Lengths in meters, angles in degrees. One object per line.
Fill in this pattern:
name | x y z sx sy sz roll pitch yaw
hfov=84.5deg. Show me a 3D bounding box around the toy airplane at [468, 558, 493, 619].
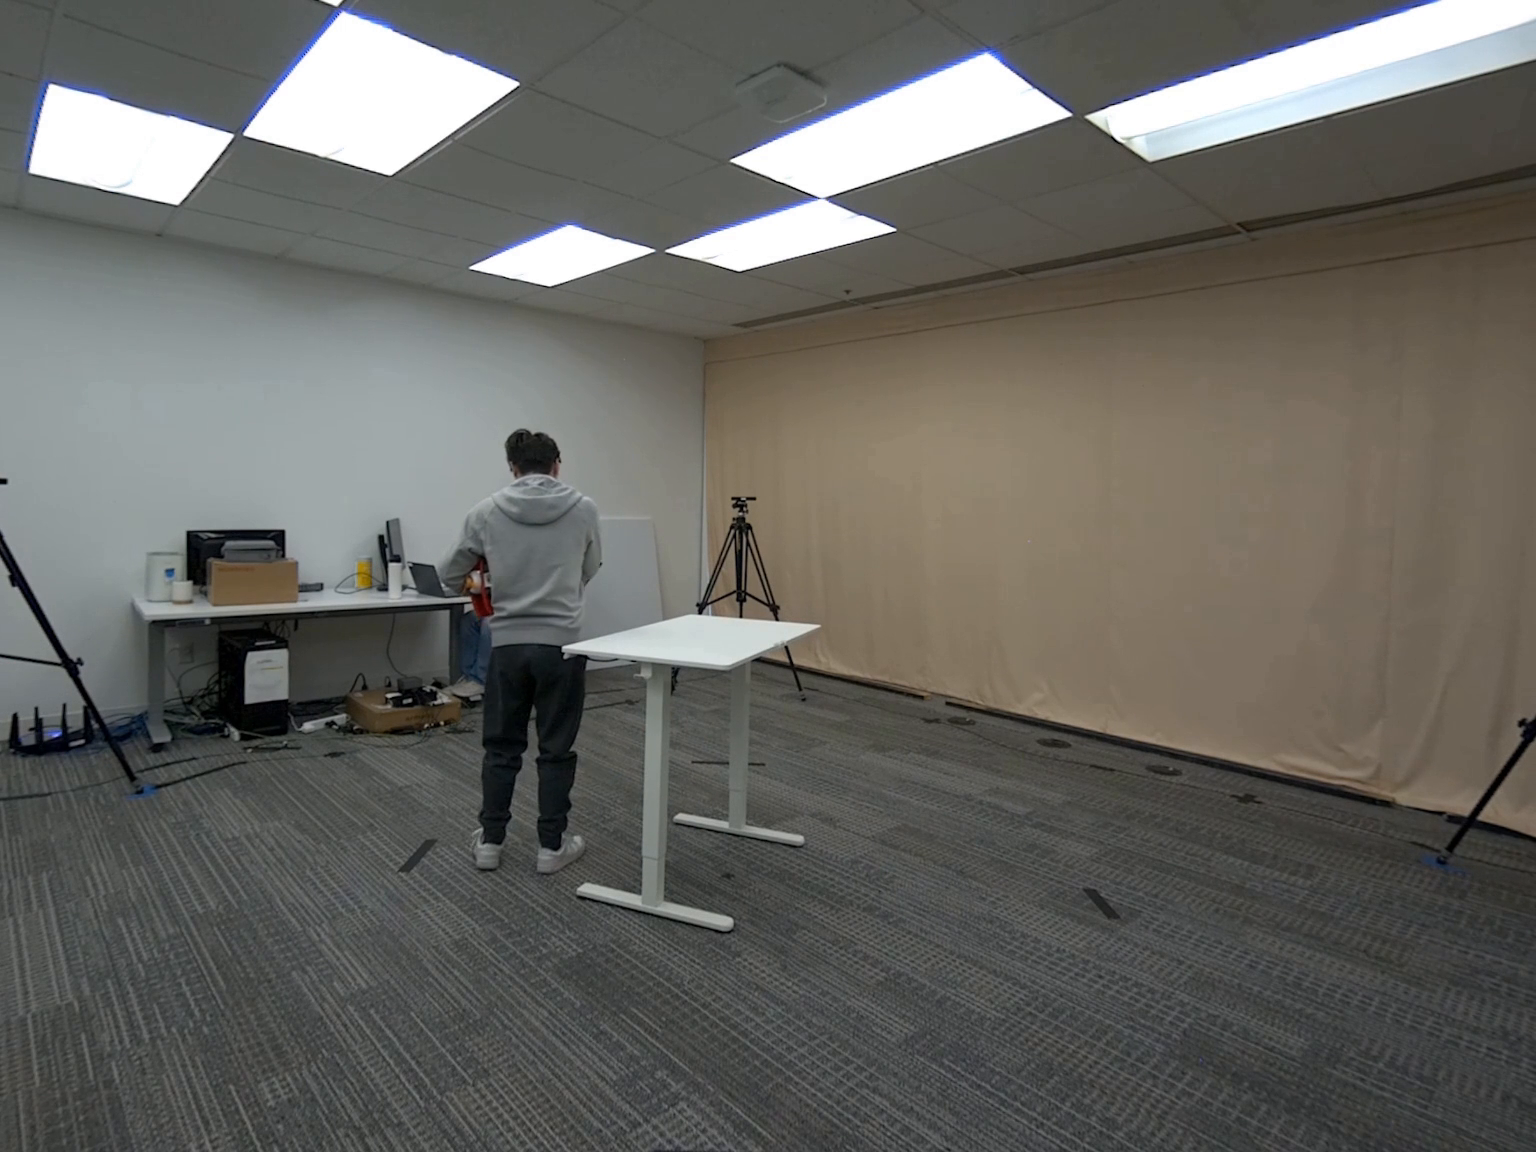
toy airplane | -1.063 0.032 3.155 0.156 0.263 0.247 -29 -15 -5
